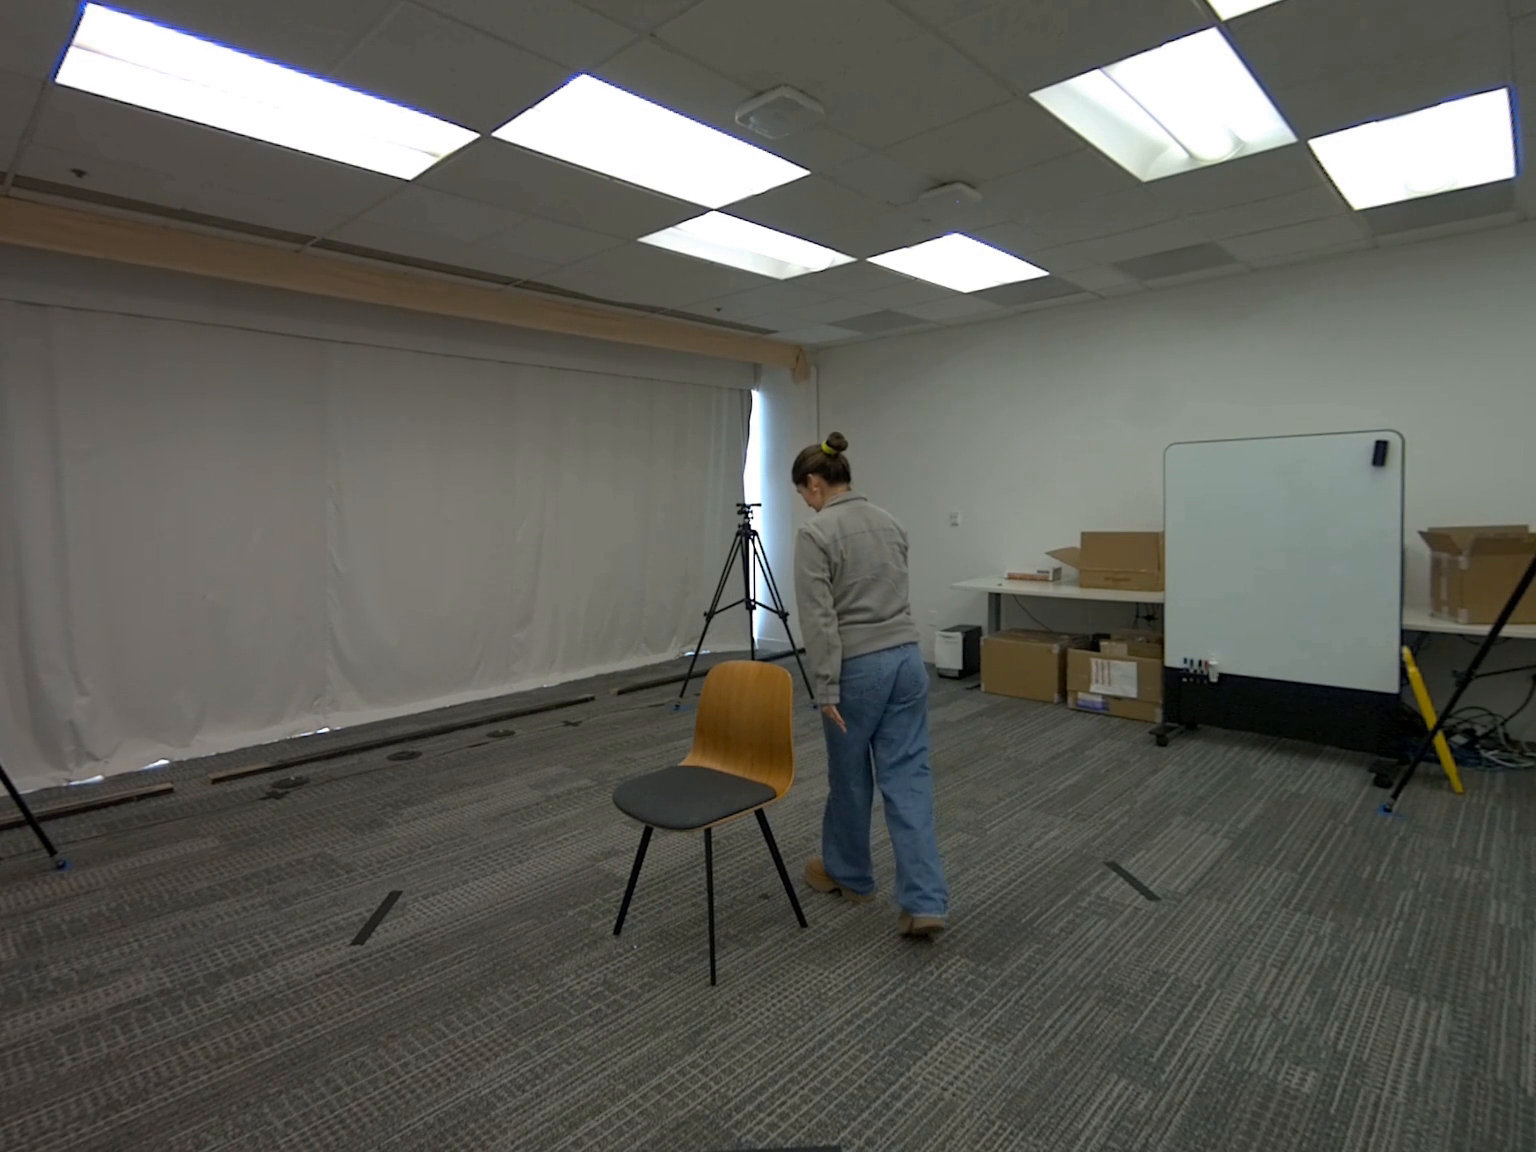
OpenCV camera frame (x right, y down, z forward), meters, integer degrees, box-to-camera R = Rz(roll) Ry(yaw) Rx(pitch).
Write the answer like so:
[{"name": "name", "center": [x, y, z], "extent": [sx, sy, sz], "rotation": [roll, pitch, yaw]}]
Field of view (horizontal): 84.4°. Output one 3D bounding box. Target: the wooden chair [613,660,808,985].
[{"name": "wooden chair", "center": [-0.194, 0.737, 2.716], "extent": [0.494, 0.877, 0.506], "rotation": [2, 0, 41]}]
